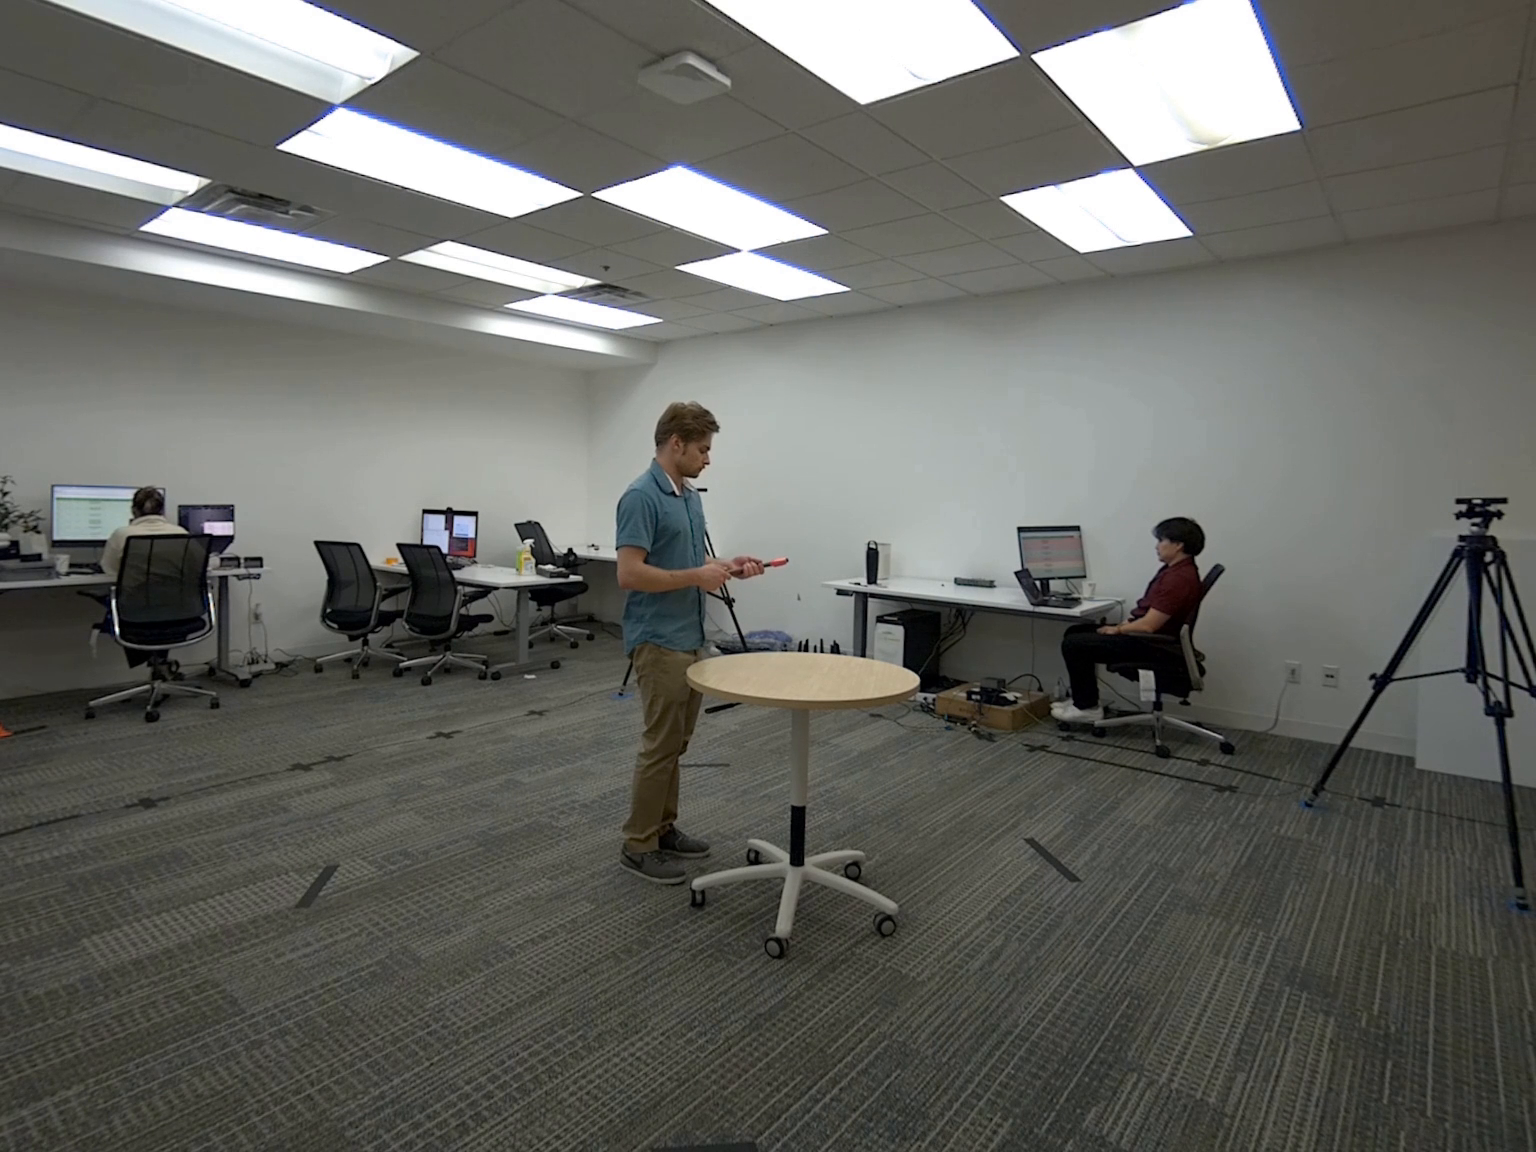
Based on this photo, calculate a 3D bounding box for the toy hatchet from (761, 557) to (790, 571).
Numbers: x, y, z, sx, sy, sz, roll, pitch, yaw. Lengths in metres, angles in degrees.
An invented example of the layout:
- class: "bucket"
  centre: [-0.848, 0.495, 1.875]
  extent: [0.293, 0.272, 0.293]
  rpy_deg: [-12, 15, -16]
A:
- class: "toy hatchet"
  centre: [-0.059, -0.032, 3.081]
  extent: [0.264, 0.029, 0.134]
  rpy_deg: [-11, 1, -30]
